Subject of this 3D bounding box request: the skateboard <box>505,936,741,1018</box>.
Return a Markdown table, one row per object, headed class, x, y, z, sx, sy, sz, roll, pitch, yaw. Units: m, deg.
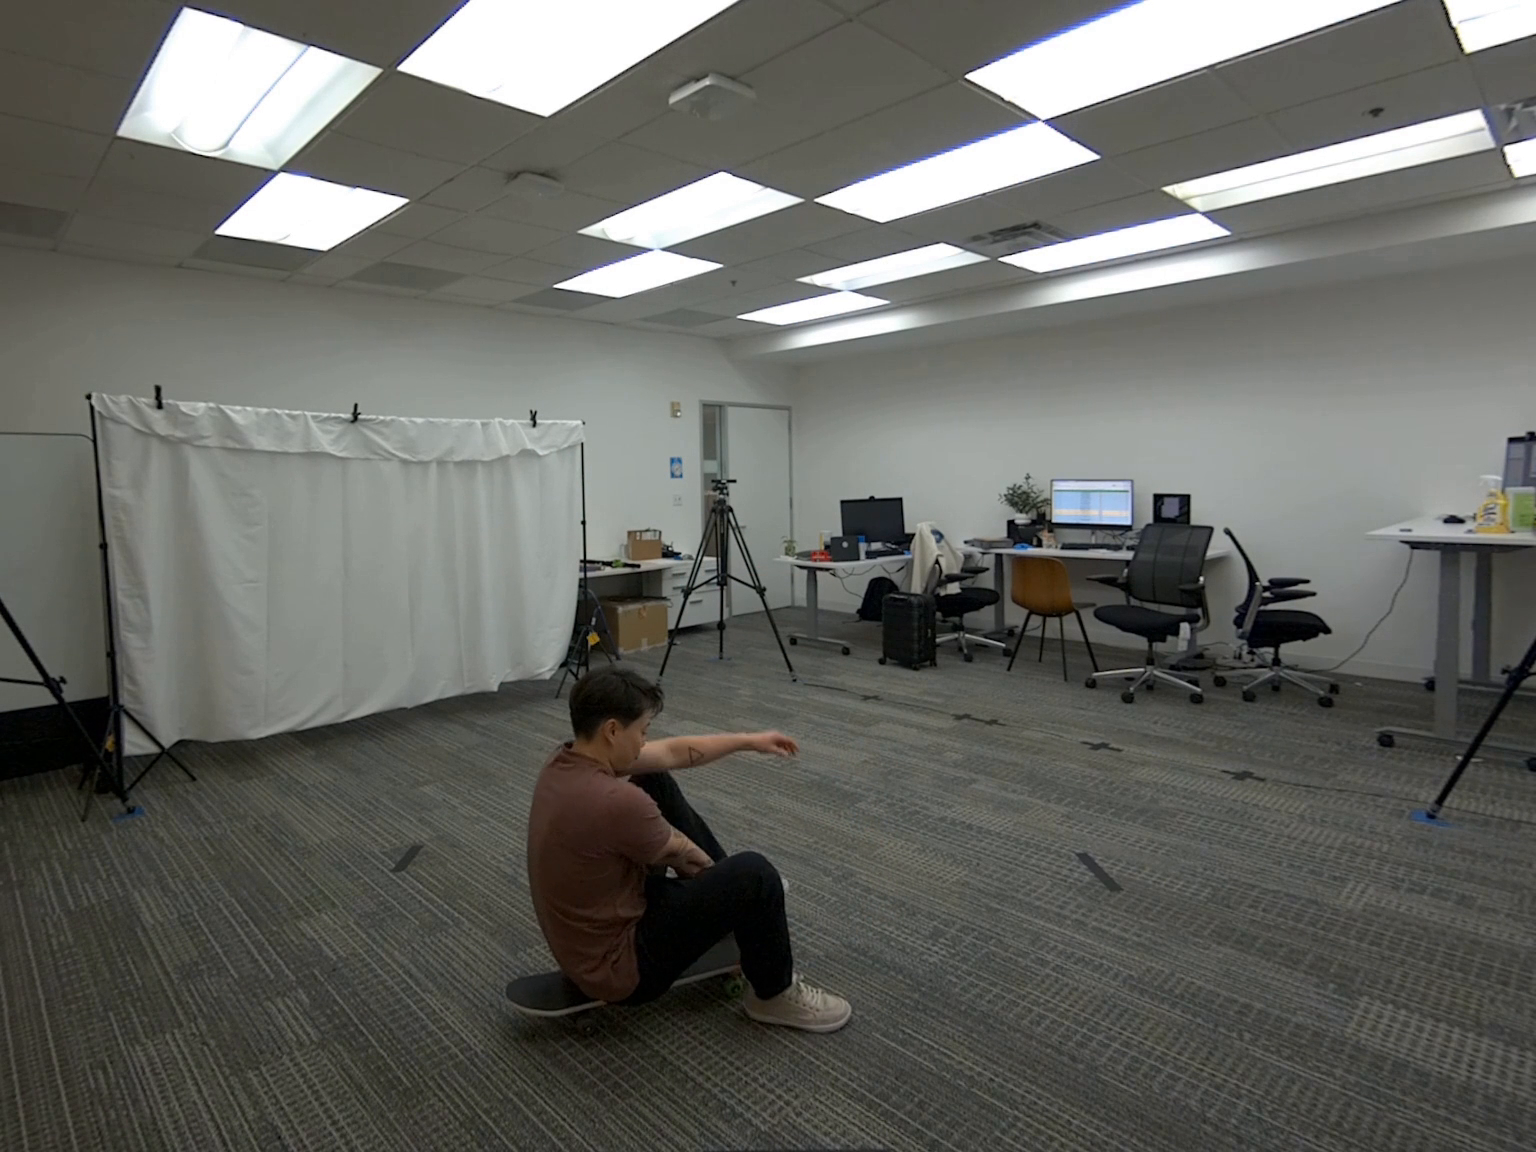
| class | x | y | z | sx | sy | sz | roll | pitch | yaw |
| --- | --- | --- | --- | --- | --- | --- | --- | --- | --- |
| skateboard | -0.304 | 1.093 | 2.321 | 0.770 | 0.110 | 0.198 | -4 | 5 | -23 |
